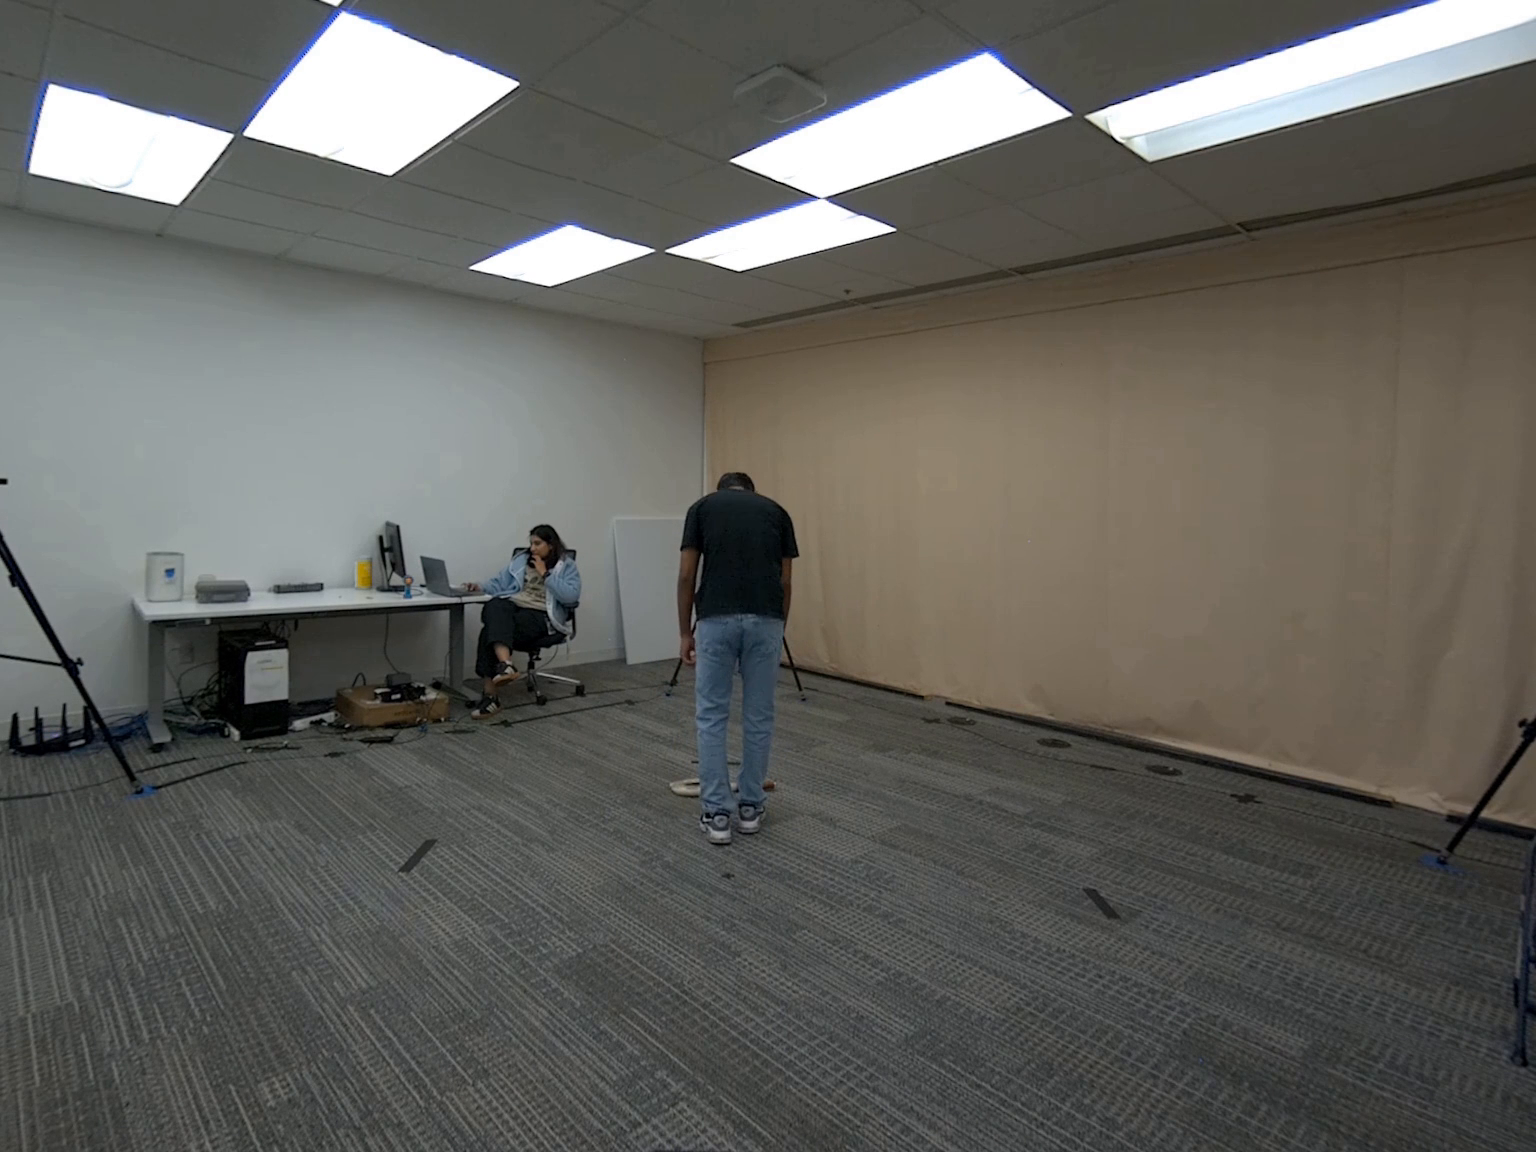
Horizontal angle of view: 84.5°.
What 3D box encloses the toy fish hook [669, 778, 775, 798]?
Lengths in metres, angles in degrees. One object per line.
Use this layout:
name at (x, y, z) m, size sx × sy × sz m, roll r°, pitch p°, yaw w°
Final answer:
toy fish hook at (-0.228, 1.002, 4.053) m, size 0.501 × 0.048 × 0.228 m, roll 1°, pitch 6°, yaw -15°
